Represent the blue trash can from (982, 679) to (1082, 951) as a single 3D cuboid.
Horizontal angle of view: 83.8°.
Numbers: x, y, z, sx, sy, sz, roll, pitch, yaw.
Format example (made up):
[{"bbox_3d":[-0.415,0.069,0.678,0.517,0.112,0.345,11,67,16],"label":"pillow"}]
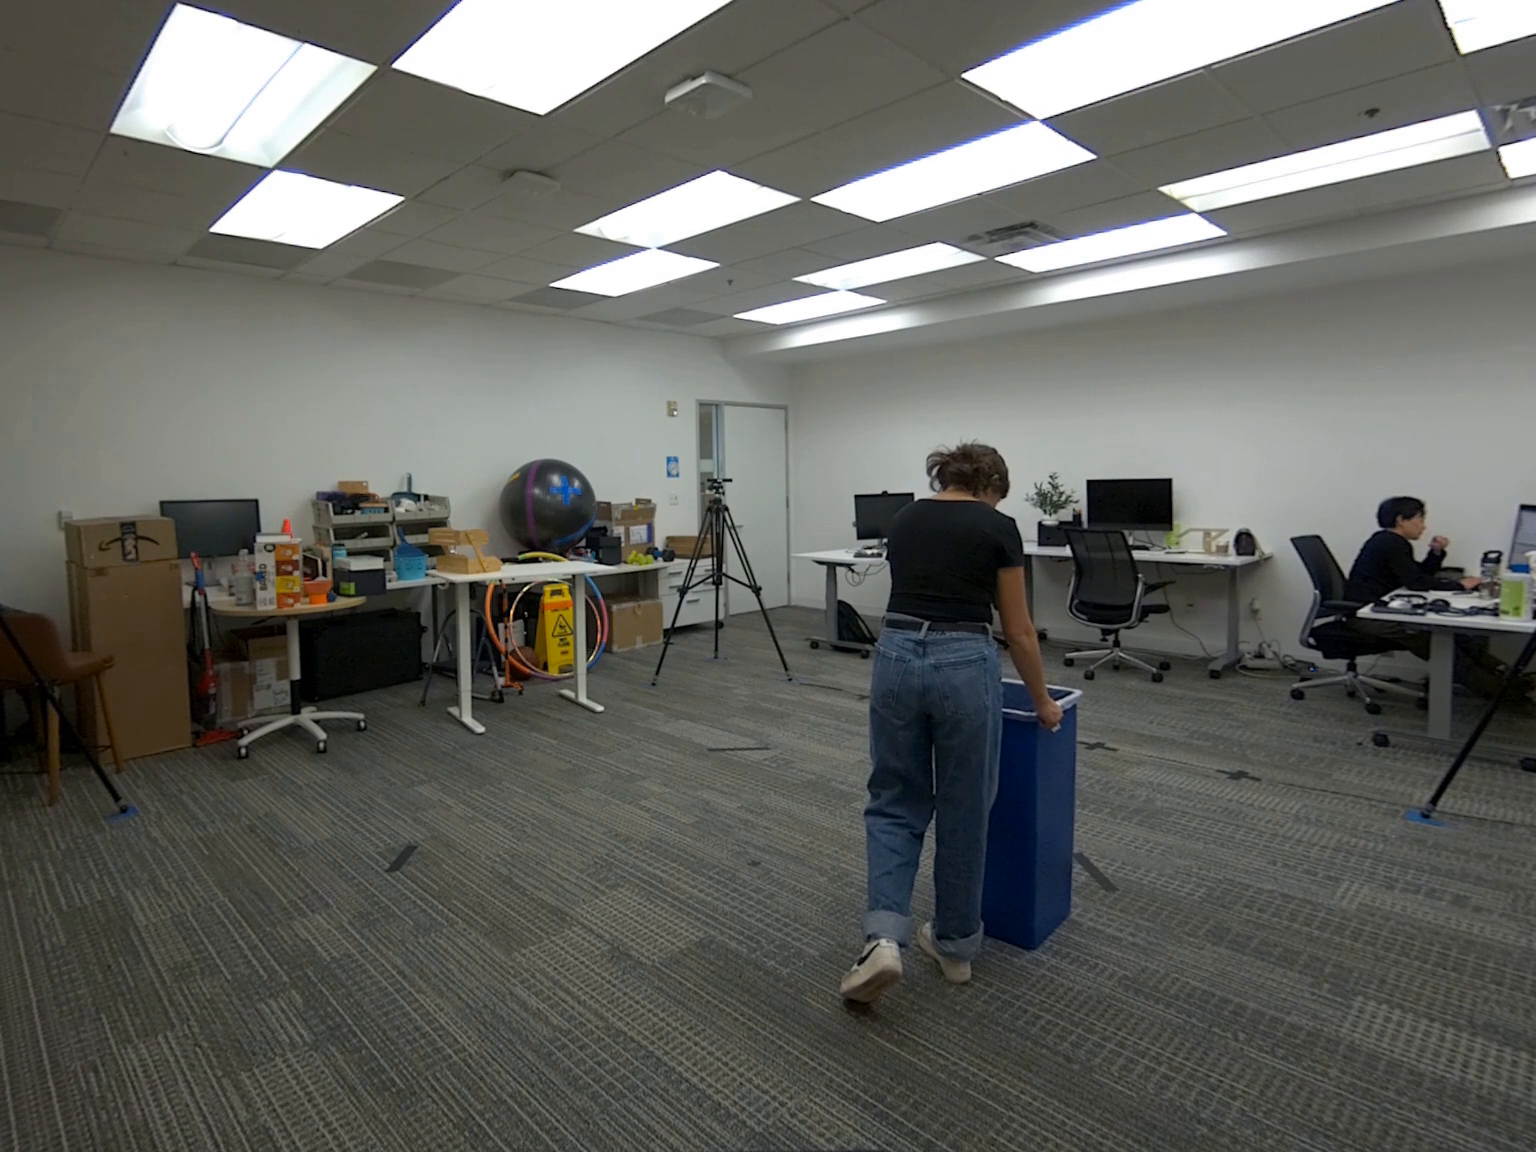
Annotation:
[{"bbox_3d":[0.748,0.721,2.687,0.385,0.711,0.368,3,5,41],"label":"blue trash can"}]
